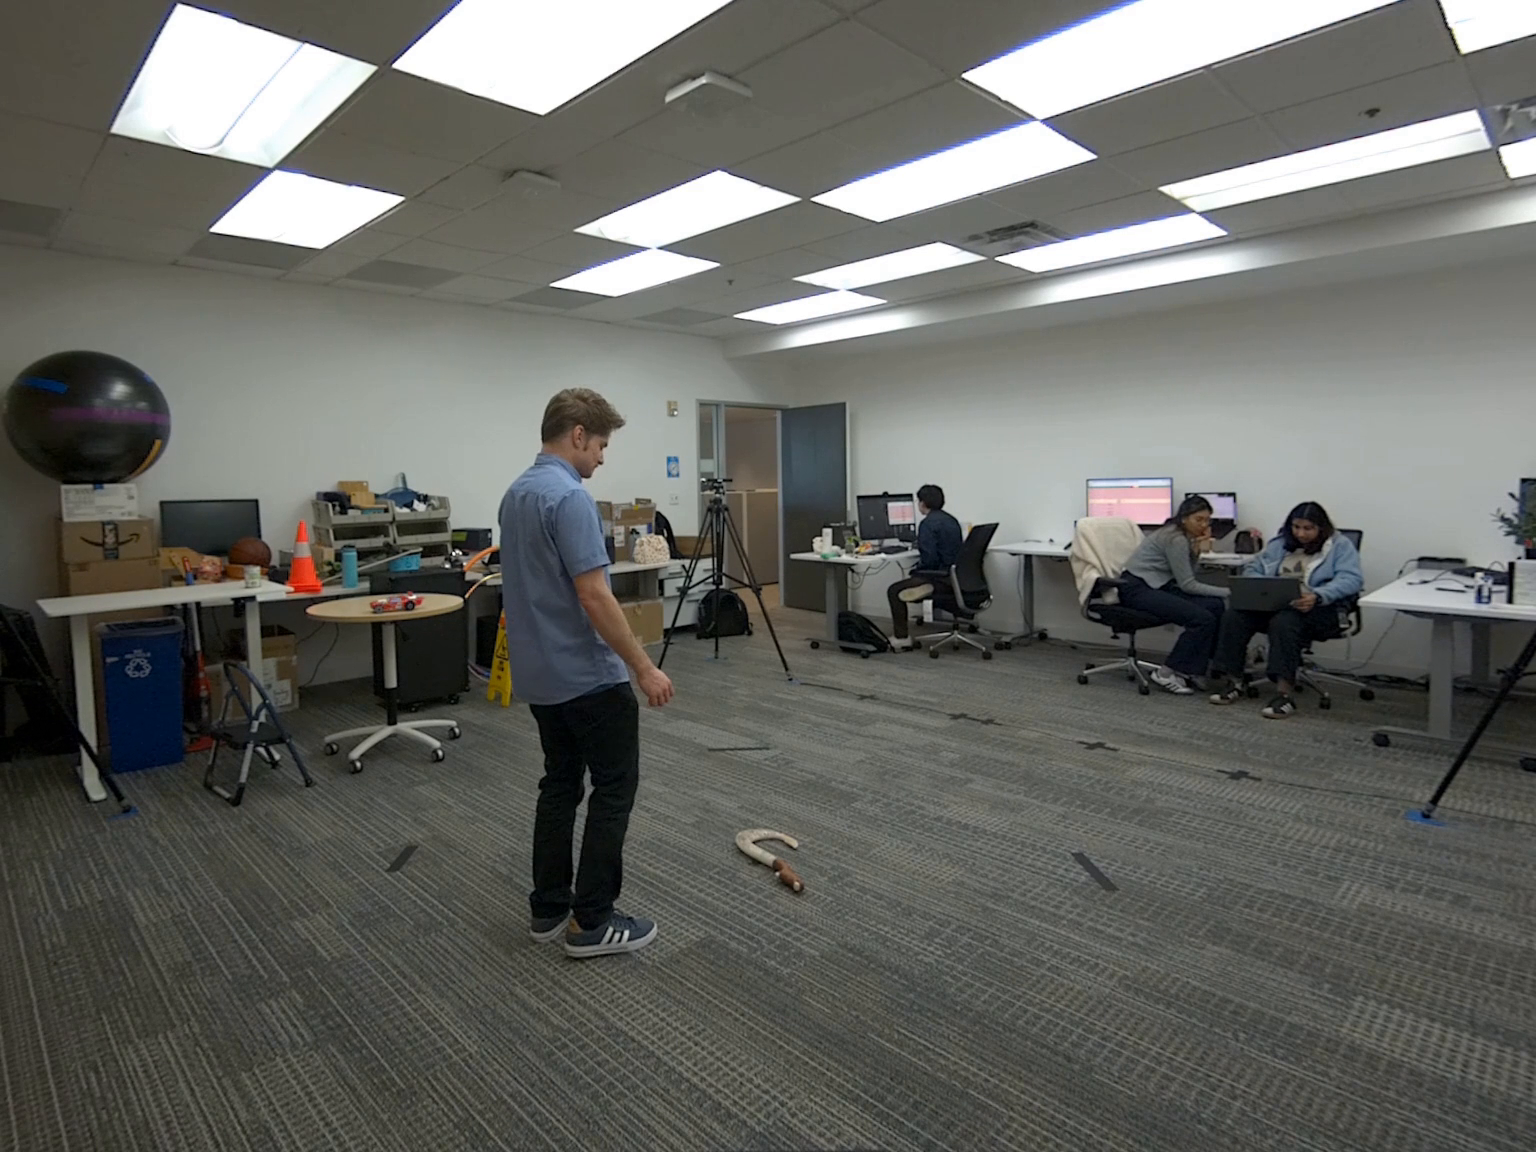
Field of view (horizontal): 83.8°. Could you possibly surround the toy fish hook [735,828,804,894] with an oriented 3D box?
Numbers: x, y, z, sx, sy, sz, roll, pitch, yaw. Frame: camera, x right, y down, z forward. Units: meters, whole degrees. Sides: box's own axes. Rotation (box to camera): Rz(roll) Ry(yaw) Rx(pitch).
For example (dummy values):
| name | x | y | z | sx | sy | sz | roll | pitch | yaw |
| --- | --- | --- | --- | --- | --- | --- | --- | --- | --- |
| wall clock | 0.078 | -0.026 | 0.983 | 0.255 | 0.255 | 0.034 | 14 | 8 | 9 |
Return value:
| name | x | y | z | sx | sy | sz | roll | pitch | yaw |
| --- | --- | --- | --- | --- | --- | --- | --- | --- | --- |
| toy fish hook | 0.052 | 1.021 | 3.110 | 0.220 | 0.048 | 0.519 | -5 | 8 | -23 |
